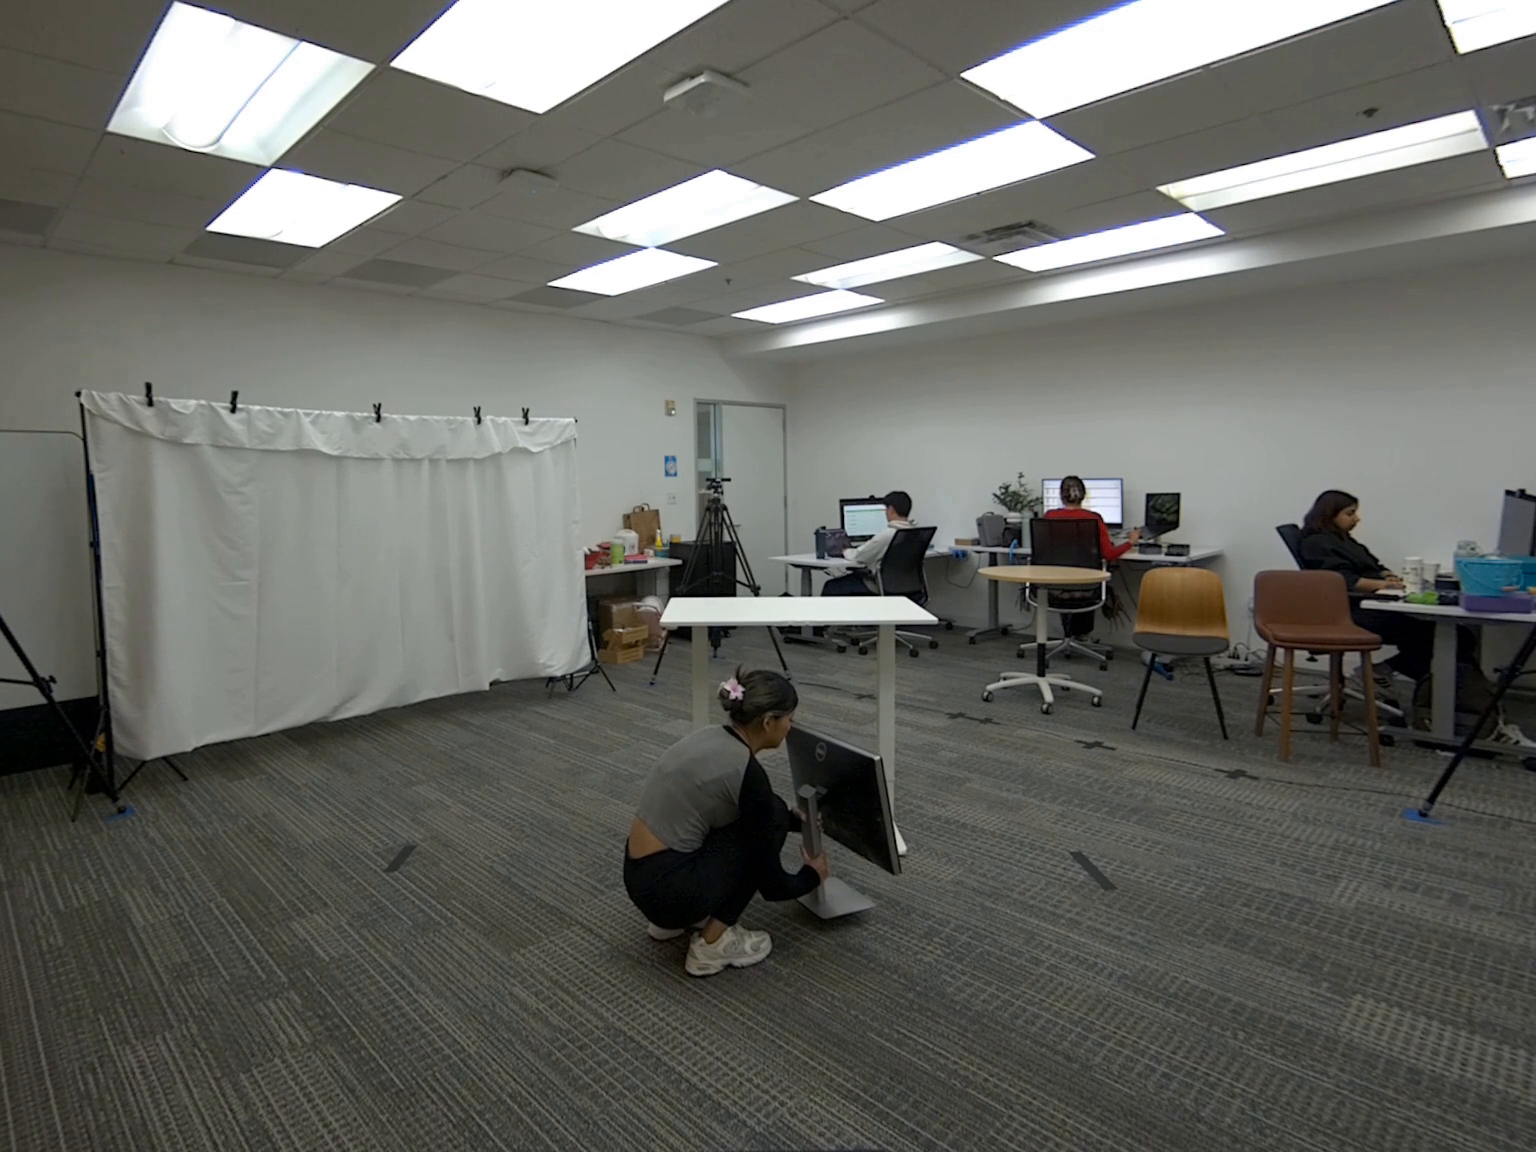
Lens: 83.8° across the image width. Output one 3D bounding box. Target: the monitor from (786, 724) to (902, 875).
[{"bbox_3d":[0.198,0.770,2.736,0.182,0.522,0.553,0,2,-30],"label":"monitor"}]
